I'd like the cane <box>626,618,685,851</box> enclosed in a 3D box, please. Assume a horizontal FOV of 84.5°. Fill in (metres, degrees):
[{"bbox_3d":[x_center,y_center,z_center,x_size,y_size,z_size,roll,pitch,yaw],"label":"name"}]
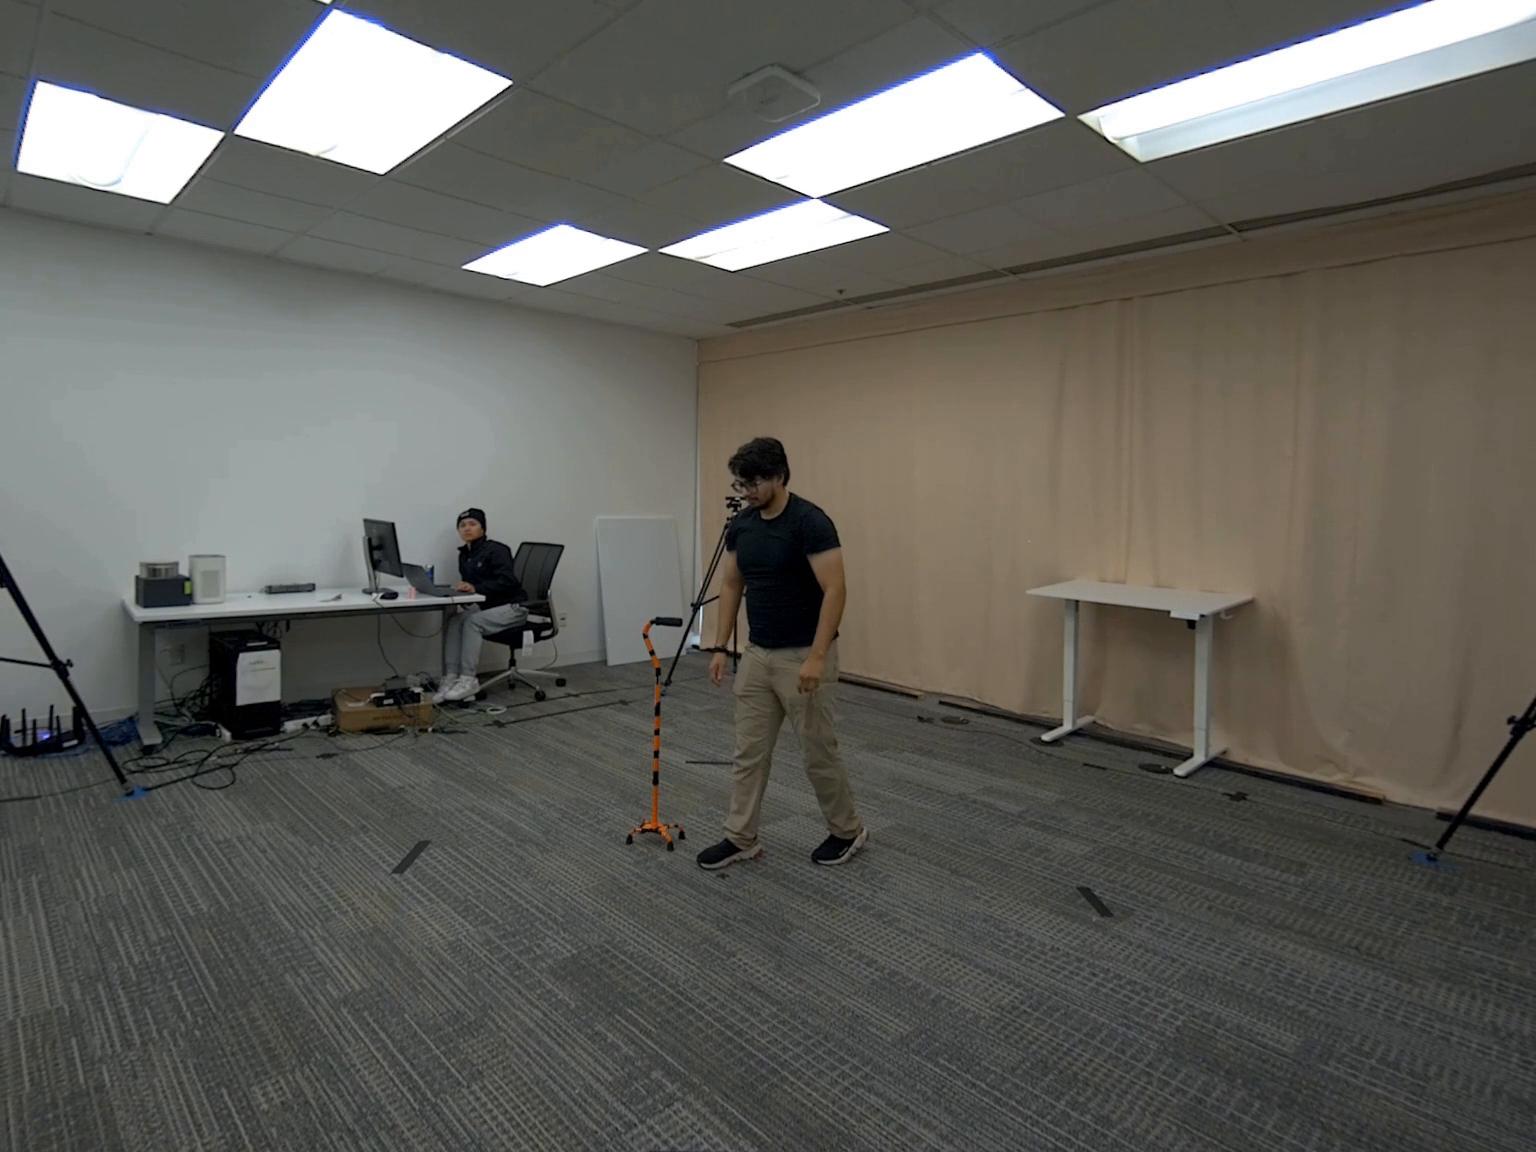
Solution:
[{"bbox_3d":[-0.452,0.617,3.389,0.209,0.906,0.150,2,3,17],"label":"cane"}]
